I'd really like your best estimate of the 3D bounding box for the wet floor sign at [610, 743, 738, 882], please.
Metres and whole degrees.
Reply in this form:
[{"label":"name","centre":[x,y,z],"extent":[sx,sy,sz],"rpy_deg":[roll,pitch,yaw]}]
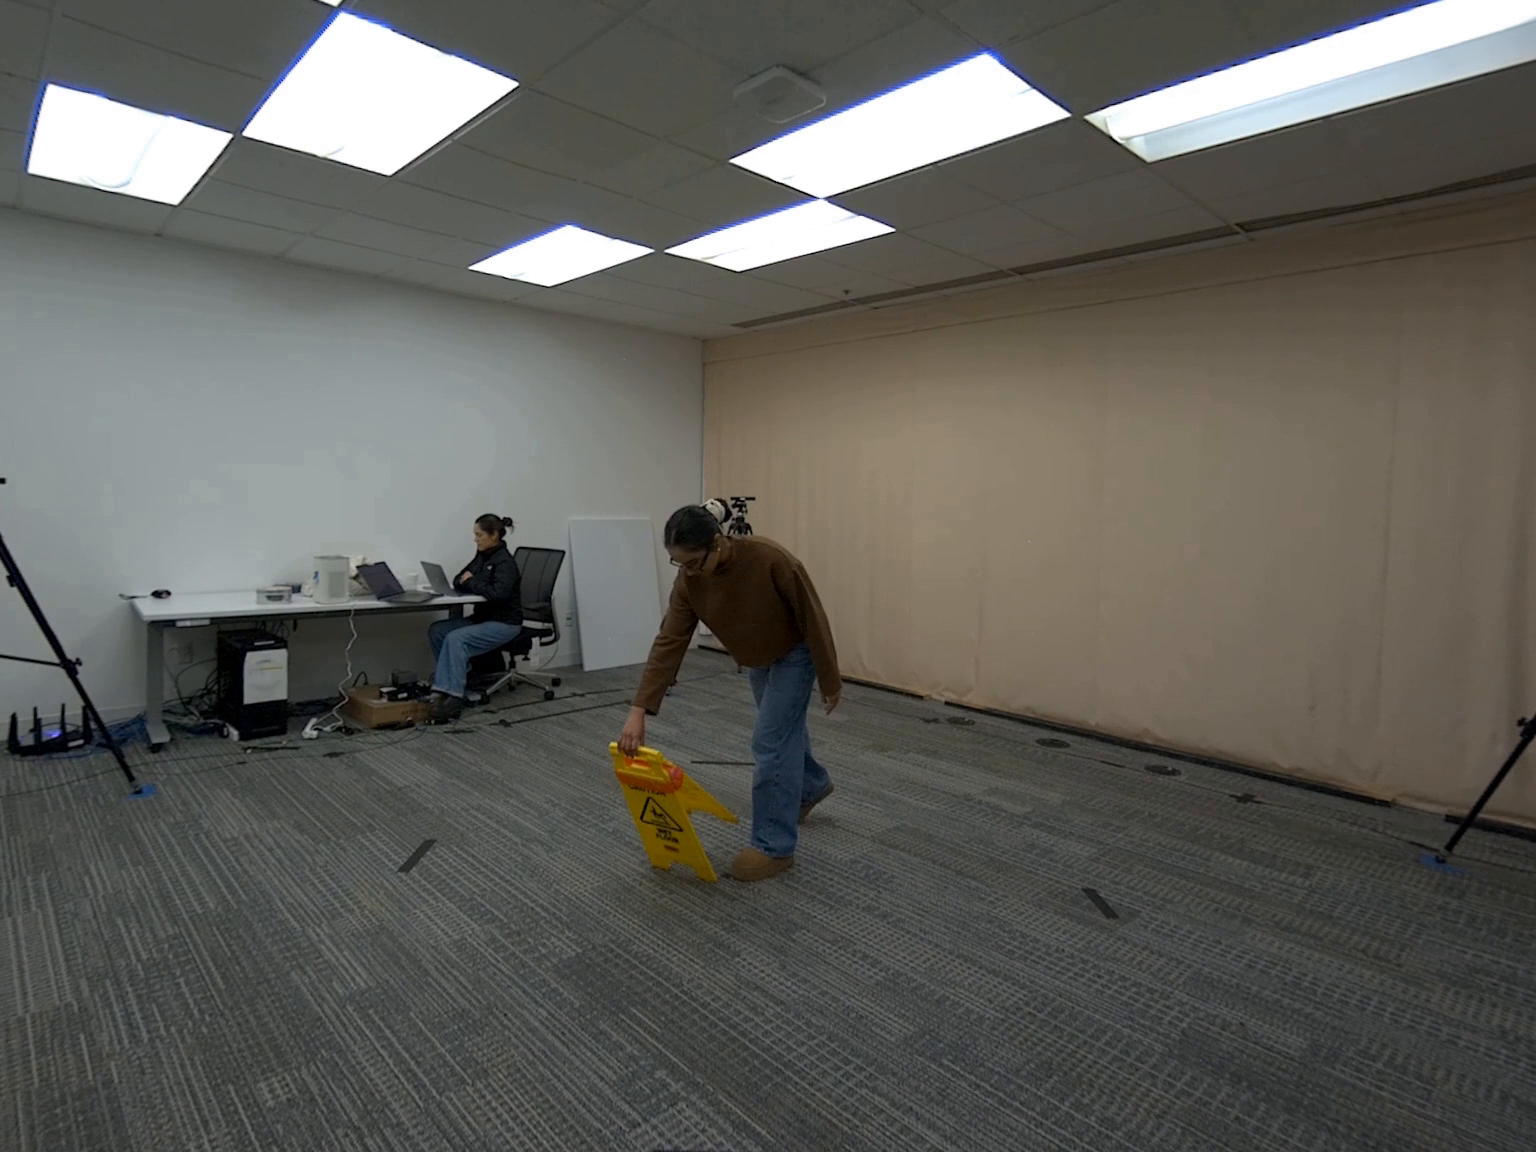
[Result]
[{"label":"wet floor sign","centre":[-0.360,0.794,2.985],"extent":[0.288,0.628,0.292],"rpy_deg":[4,46,25]}]
